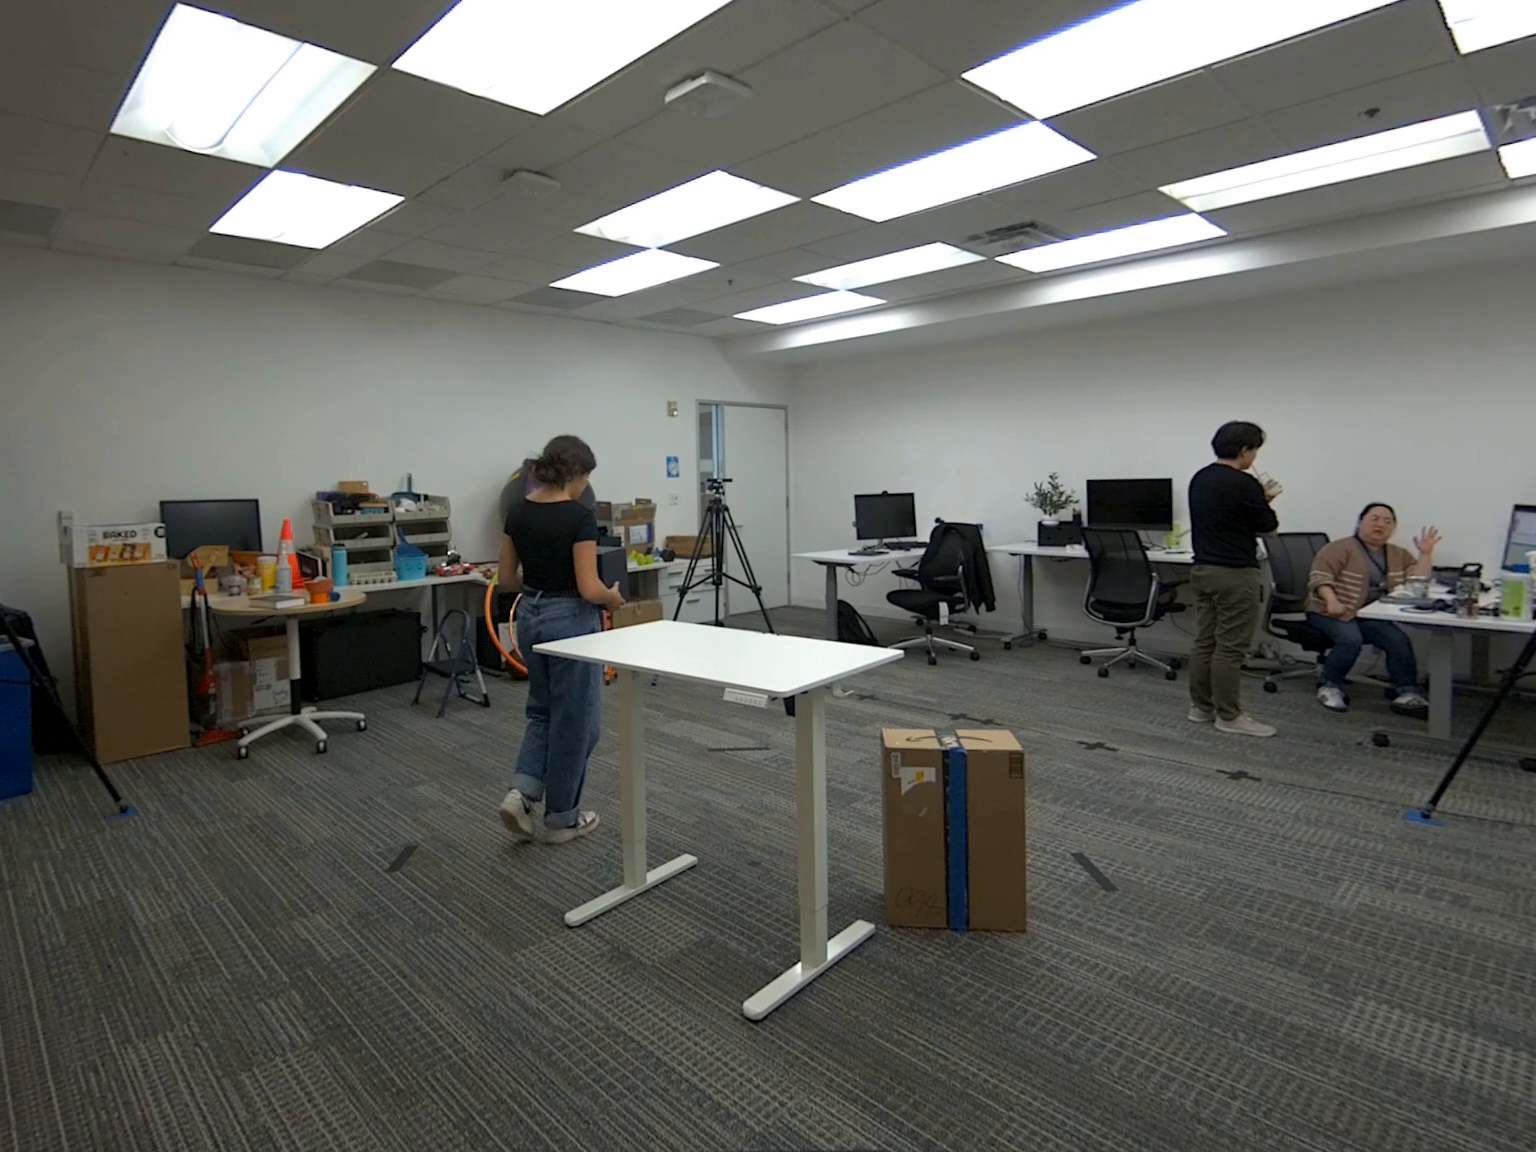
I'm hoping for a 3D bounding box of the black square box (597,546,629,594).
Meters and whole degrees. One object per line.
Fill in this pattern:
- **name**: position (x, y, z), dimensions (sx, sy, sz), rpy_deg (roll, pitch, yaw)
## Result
- **black square box**: position (-0.704, 0.001, 3.496), dimensions (0.223, 0.226, 0.153), rpy_deg (3, 10, 31)
